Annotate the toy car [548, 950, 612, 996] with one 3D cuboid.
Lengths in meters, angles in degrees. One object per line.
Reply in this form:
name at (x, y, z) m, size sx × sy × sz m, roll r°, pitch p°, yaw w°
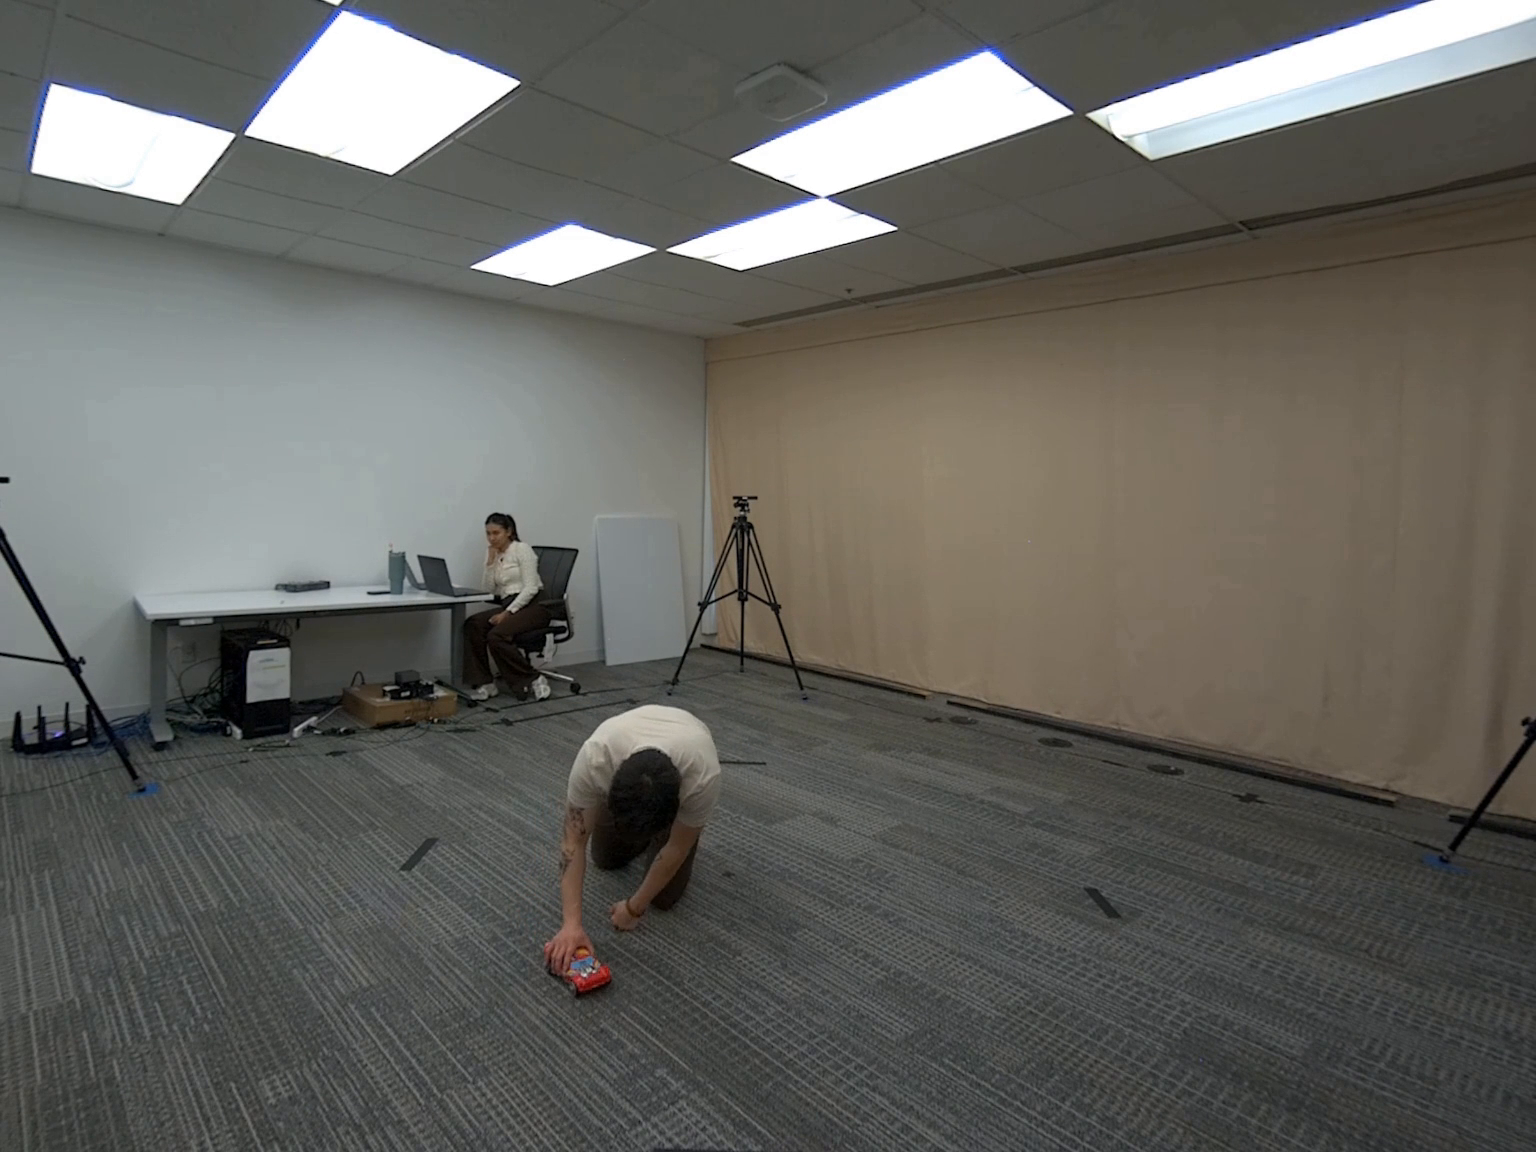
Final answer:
toy car at (-0.573, 1.128, 2.425) m, size 0.127 × 0.082 × 0.262 m, roll -4°, pitch 15°, yaw -37°
